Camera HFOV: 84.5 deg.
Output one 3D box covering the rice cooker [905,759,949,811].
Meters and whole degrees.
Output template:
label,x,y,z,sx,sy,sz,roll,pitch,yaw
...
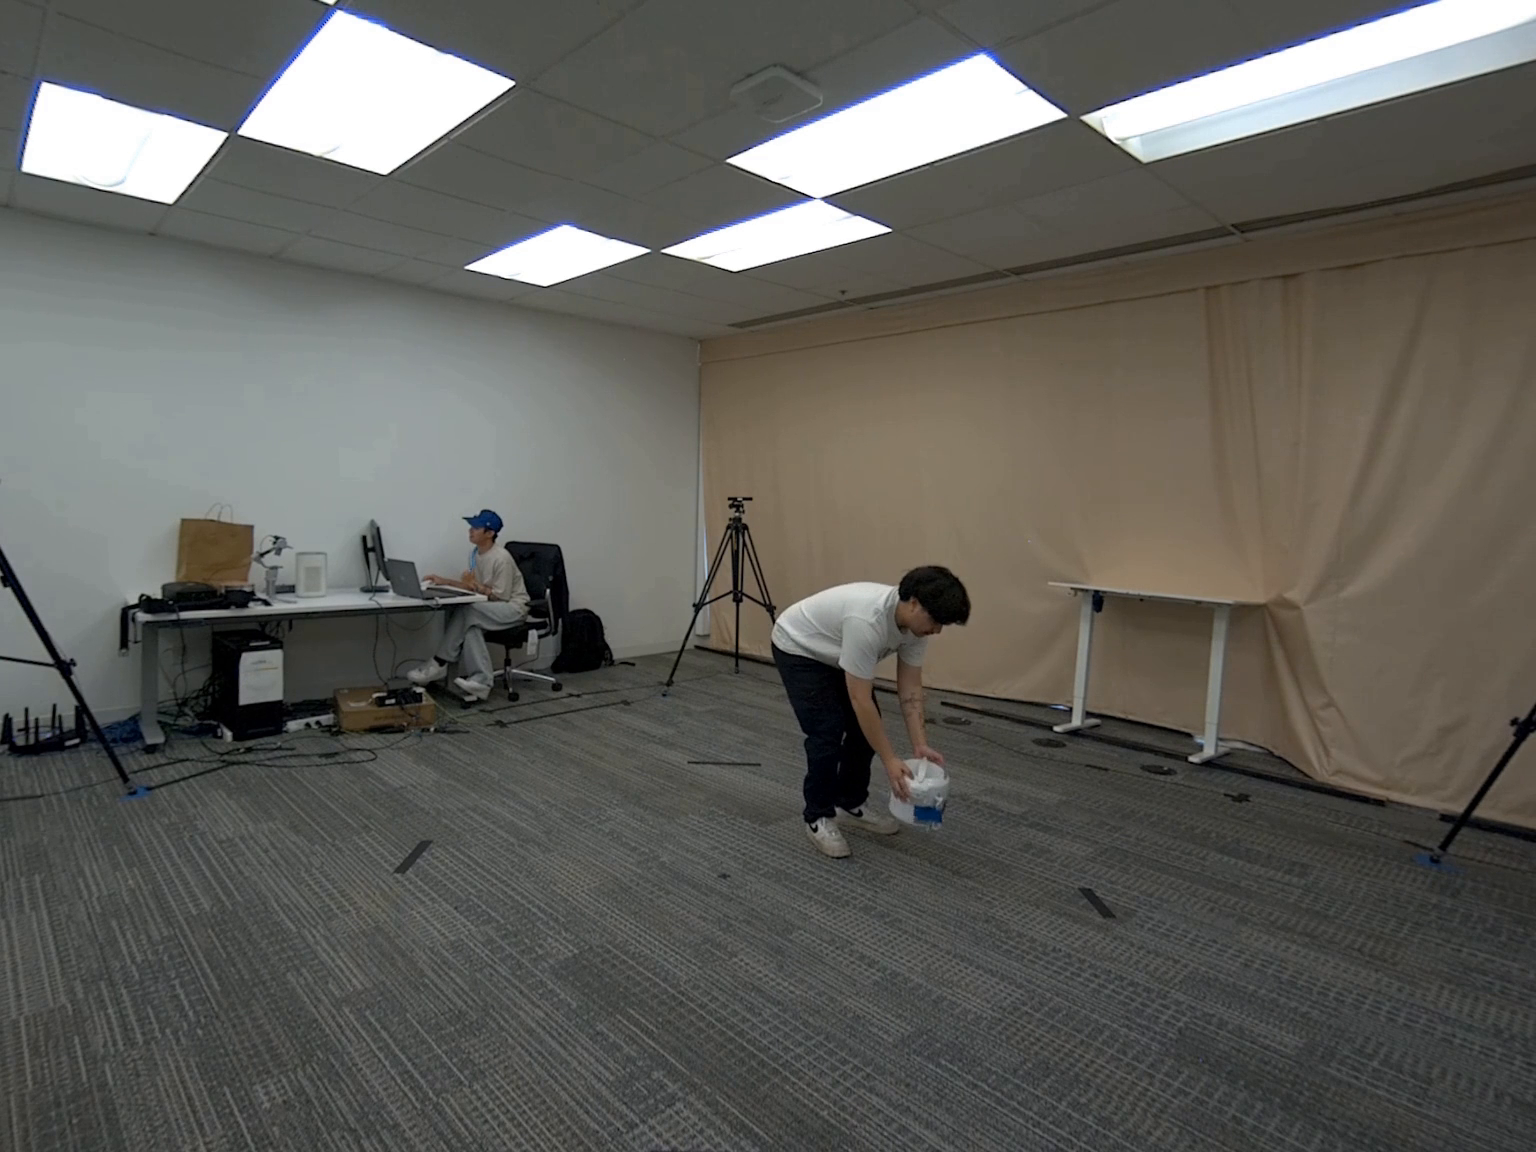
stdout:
label,x,y,z,sx,sy,sz,roll,pitch,yaw
rice cooker,0.573,0.818,3.241,0.220,0.231,0.219,9,12,14
